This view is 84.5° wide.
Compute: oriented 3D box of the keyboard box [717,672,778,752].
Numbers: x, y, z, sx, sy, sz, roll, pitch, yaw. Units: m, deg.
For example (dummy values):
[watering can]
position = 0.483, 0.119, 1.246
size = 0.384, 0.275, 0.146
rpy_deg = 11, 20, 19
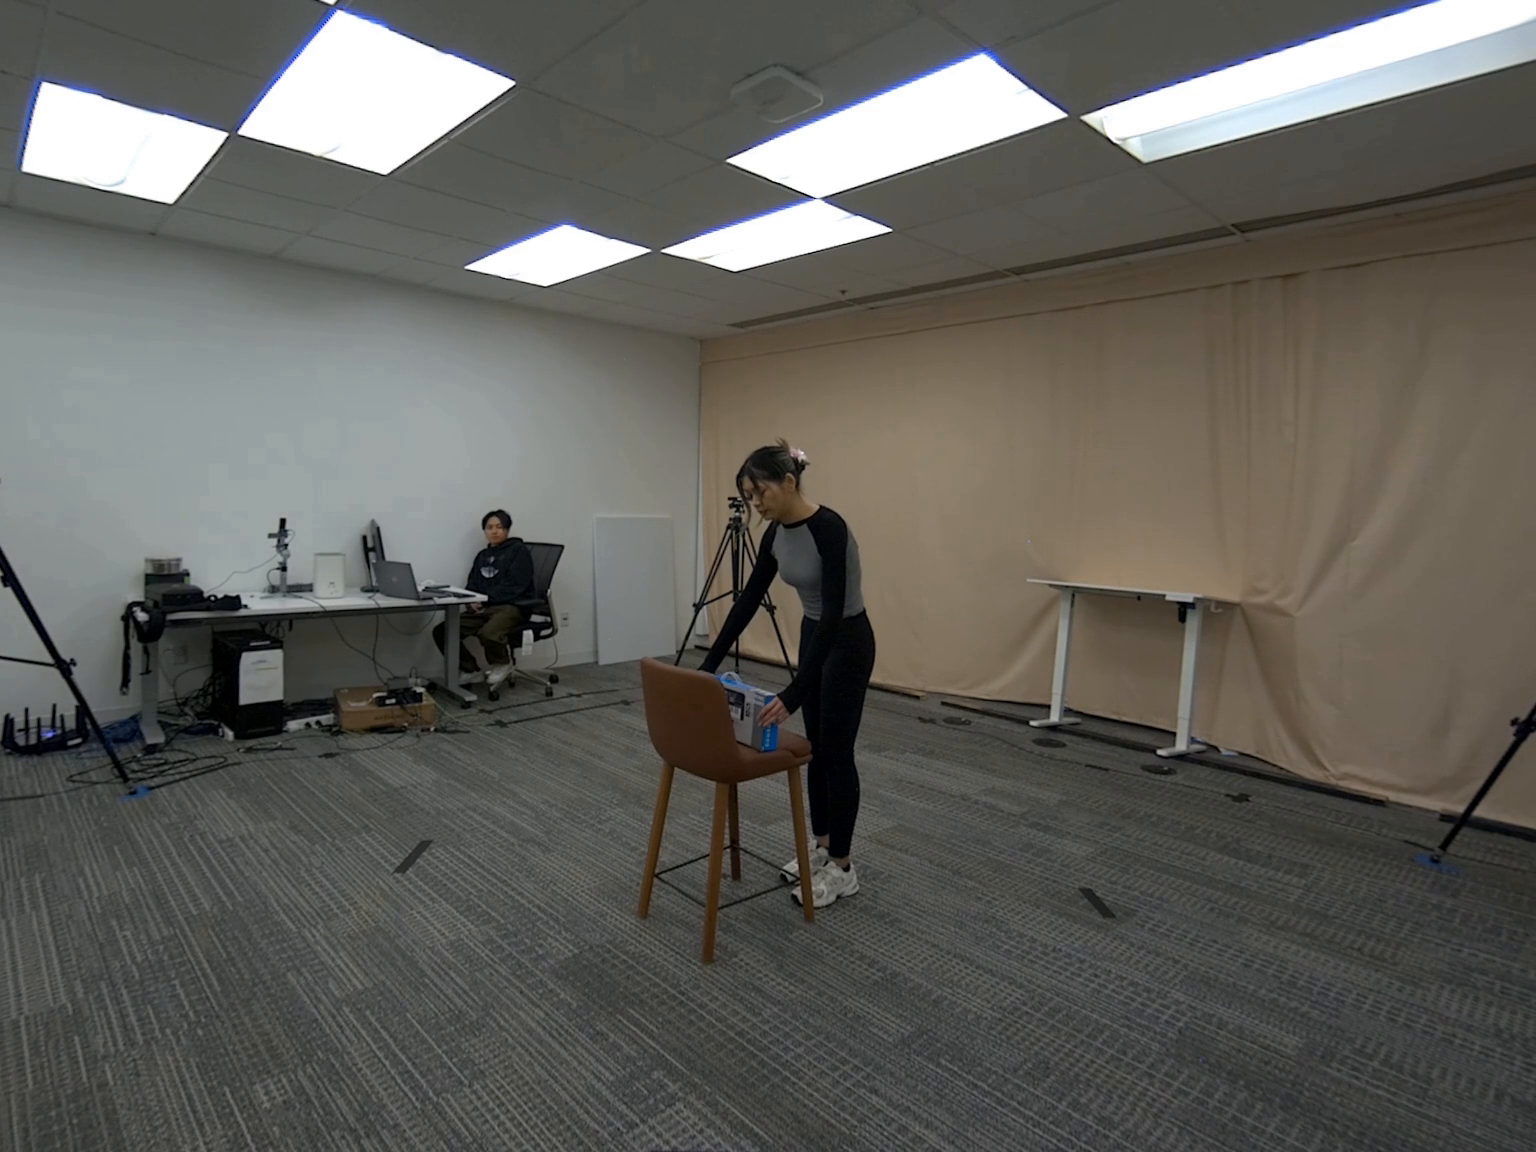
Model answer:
[keyboard box]
position = -0.131, 0.438, 2.770
size = 0.058, 0.176, 0.448
rpy_deg = 3, 3, -38
